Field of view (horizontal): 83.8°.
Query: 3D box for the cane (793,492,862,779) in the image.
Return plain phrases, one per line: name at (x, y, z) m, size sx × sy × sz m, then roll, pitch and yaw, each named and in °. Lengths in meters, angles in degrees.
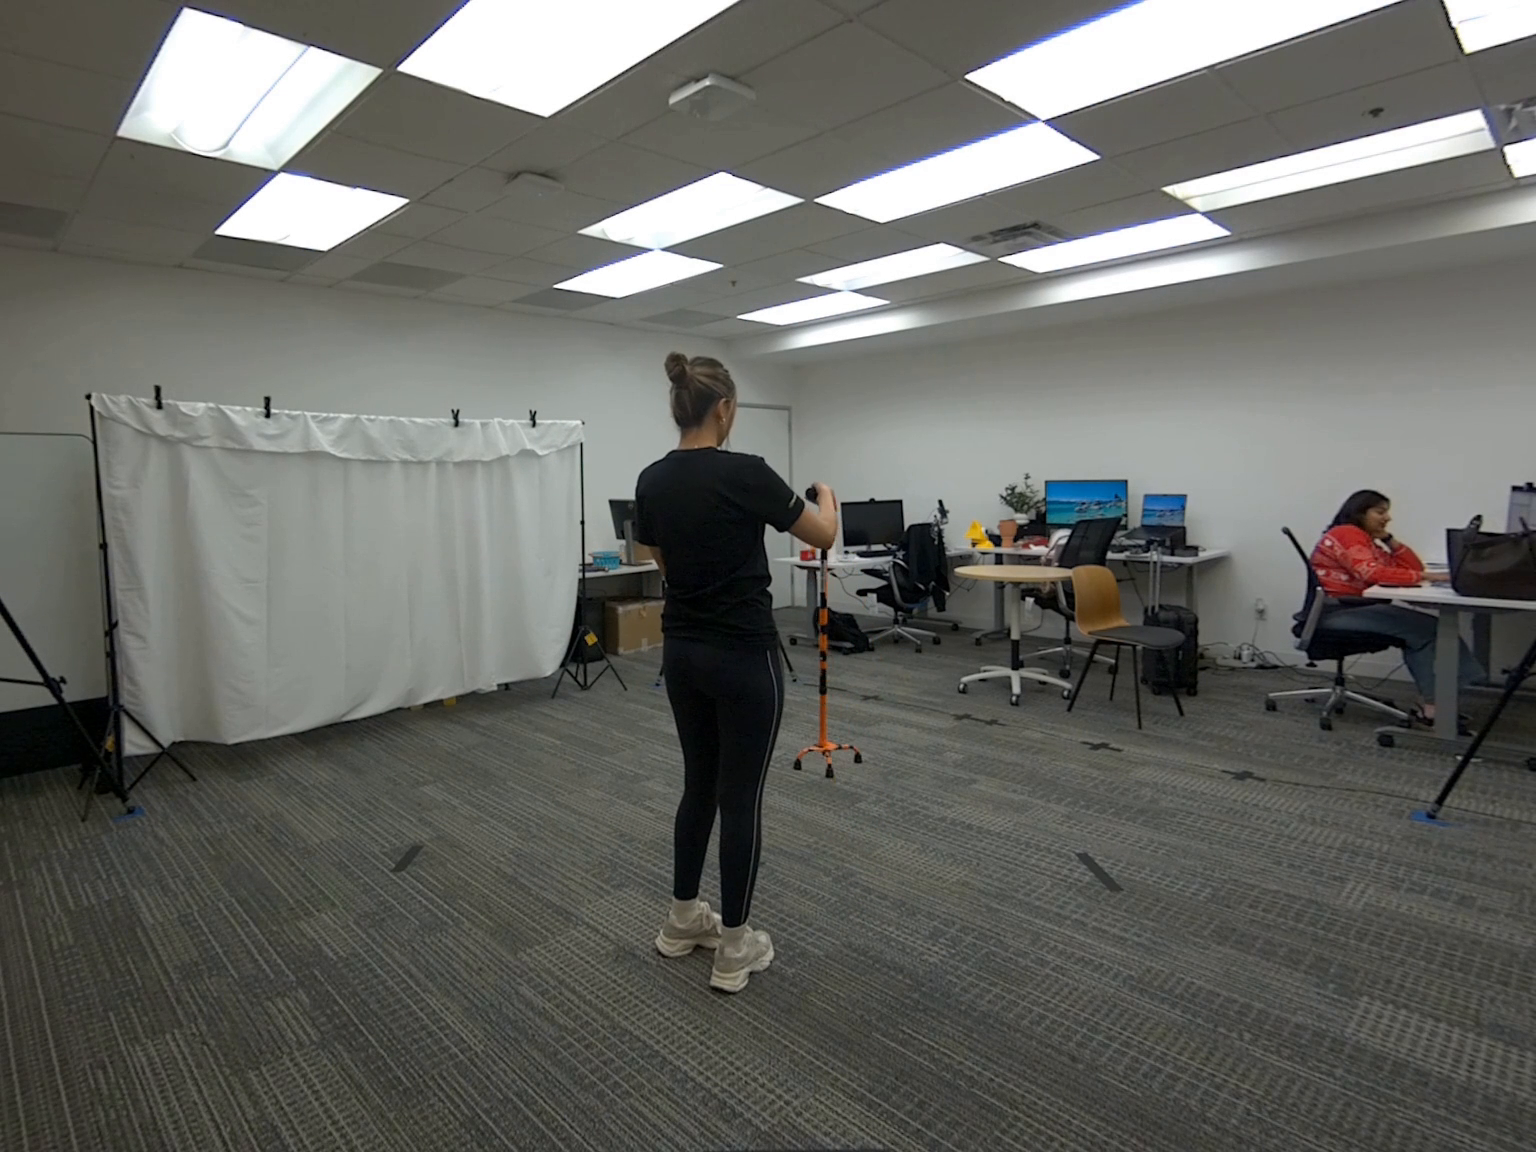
cane at (0.197, 0.184, 2.766) m, size 0.156 × 0.904 × 0.201 m, roll 3°, pitch 5°, yaw 33°
